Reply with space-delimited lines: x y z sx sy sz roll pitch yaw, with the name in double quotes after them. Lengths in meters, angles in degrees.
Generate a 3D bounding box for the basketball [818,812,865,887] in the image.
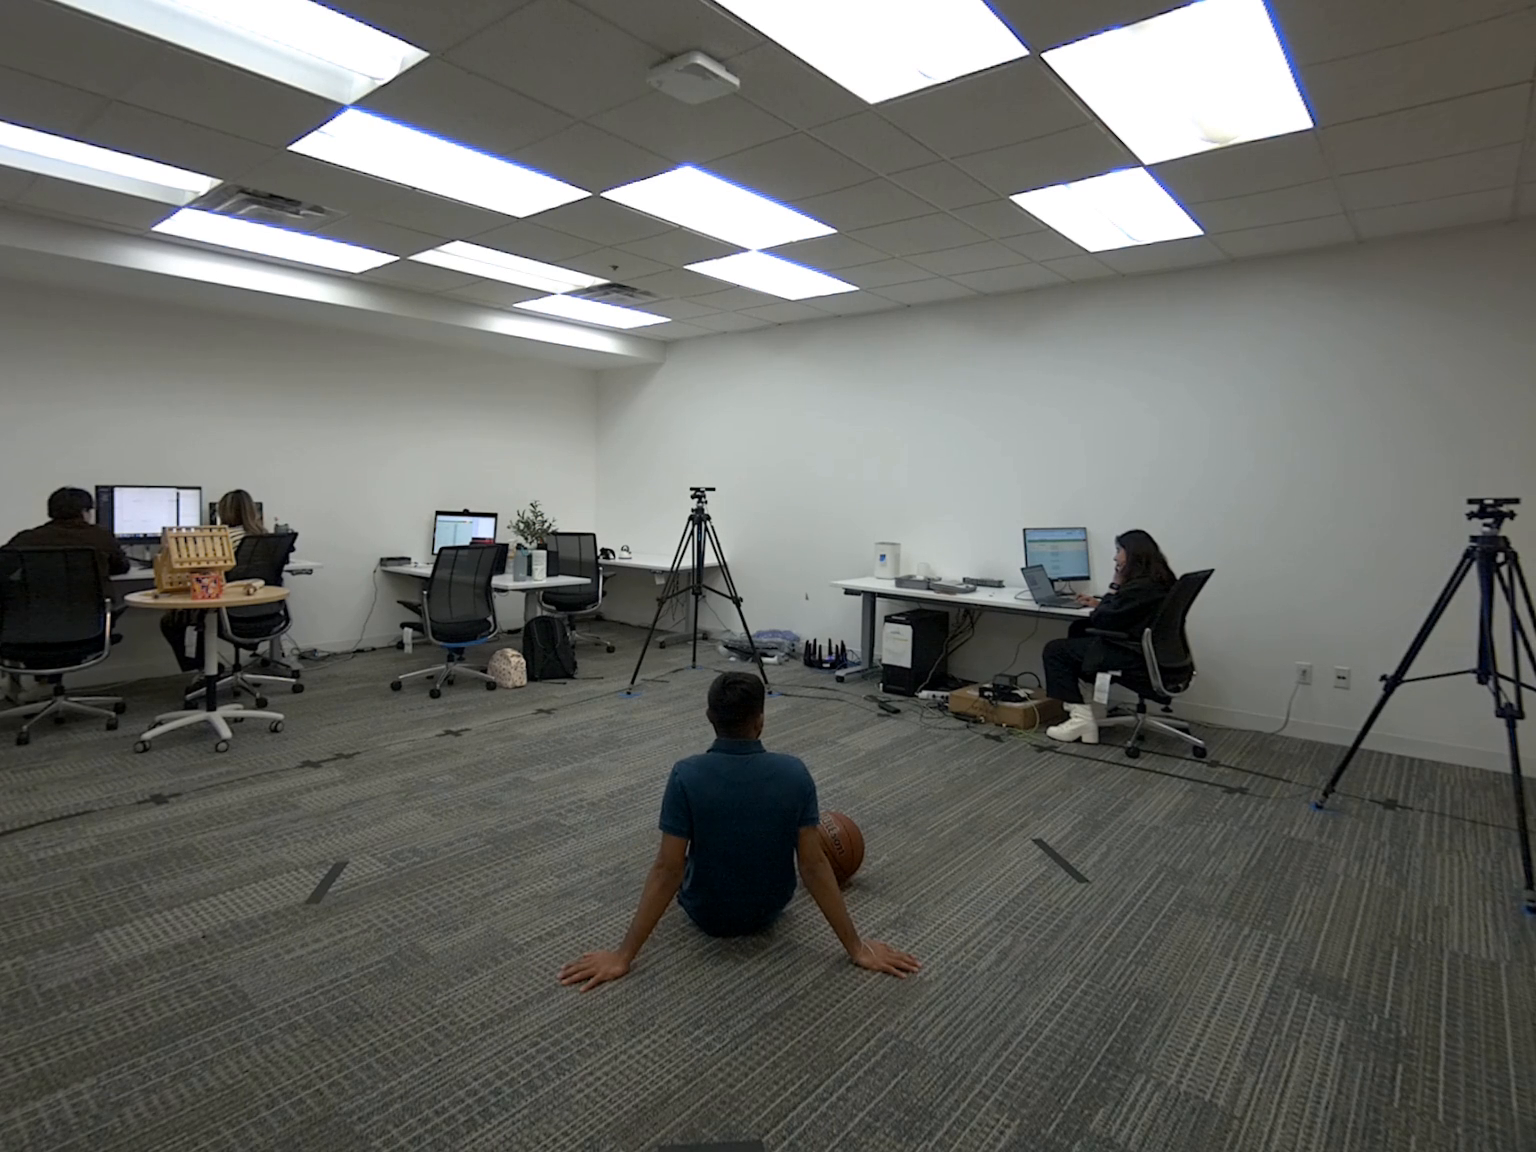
0.218 0.962 3.039 0.235 0.235 0.237 1 4 -2 "basketball"
